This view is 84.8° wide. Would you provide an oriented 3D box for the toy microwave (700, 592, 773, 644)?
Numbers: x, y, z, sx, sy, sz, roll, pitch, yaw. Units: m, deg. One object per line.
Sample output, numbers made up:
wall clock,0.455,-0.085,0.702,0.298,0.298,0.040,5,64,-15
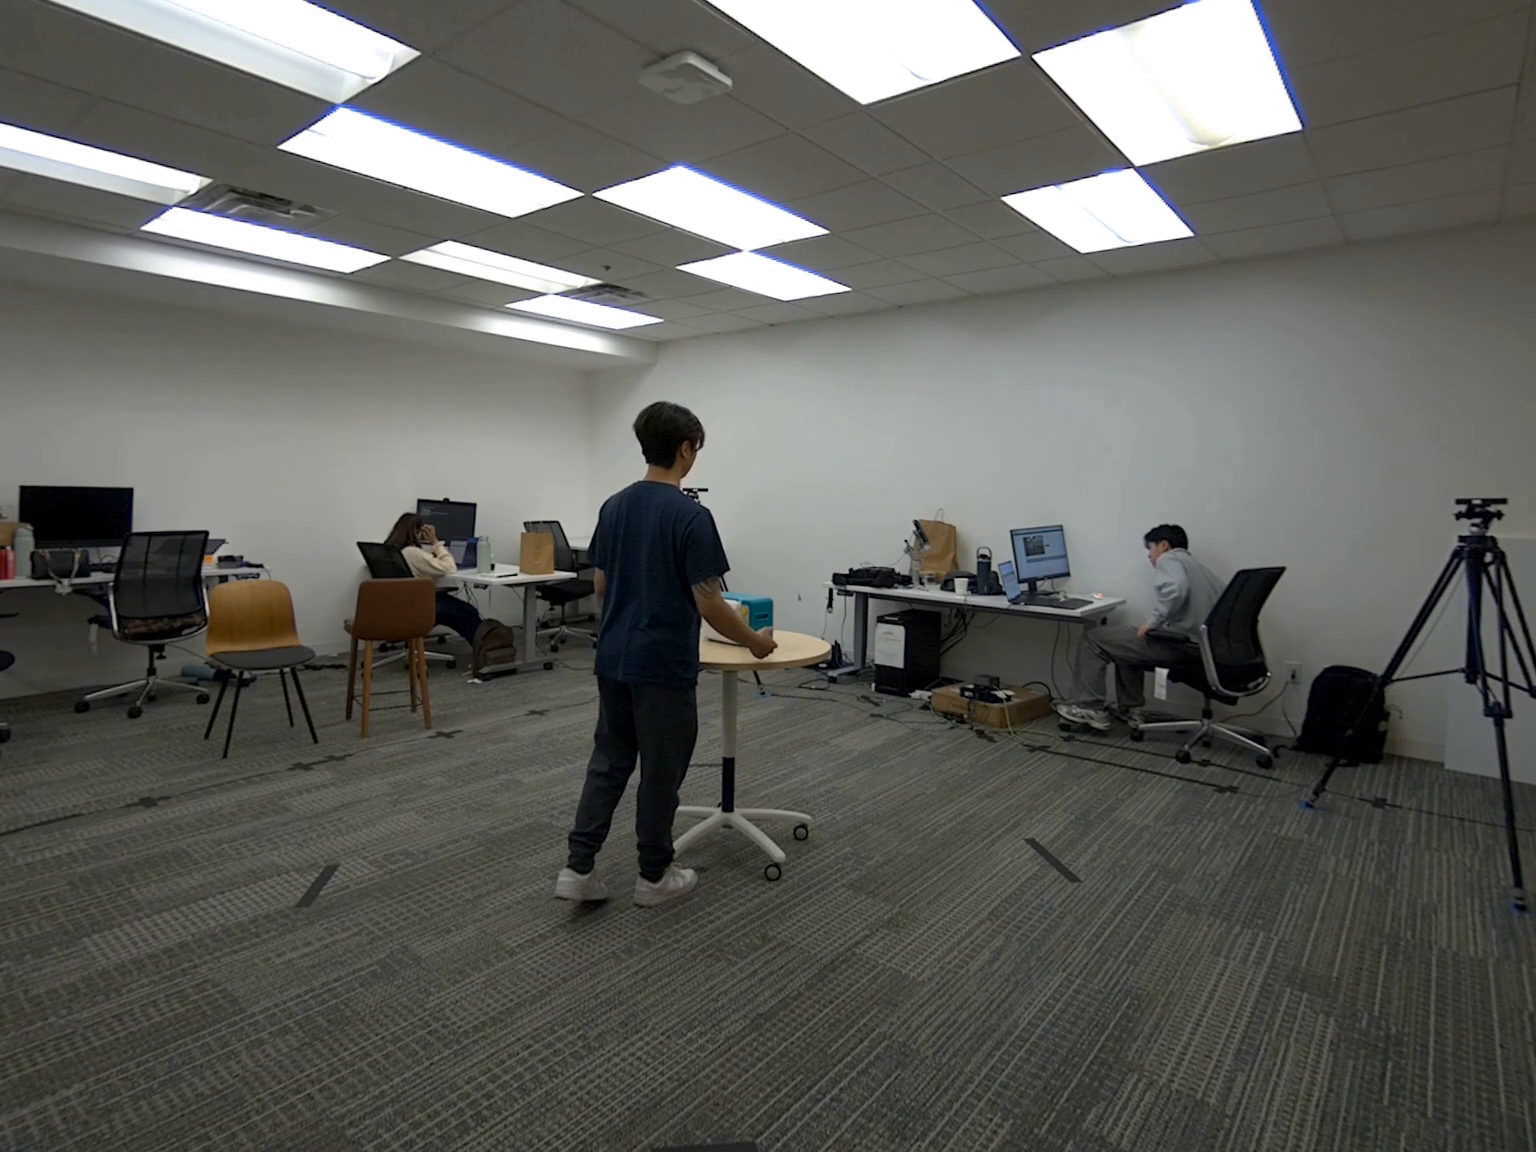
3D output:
toy microwave,-0.139,0.162,3.304,0.296,0.183,0.148,6,7,45
